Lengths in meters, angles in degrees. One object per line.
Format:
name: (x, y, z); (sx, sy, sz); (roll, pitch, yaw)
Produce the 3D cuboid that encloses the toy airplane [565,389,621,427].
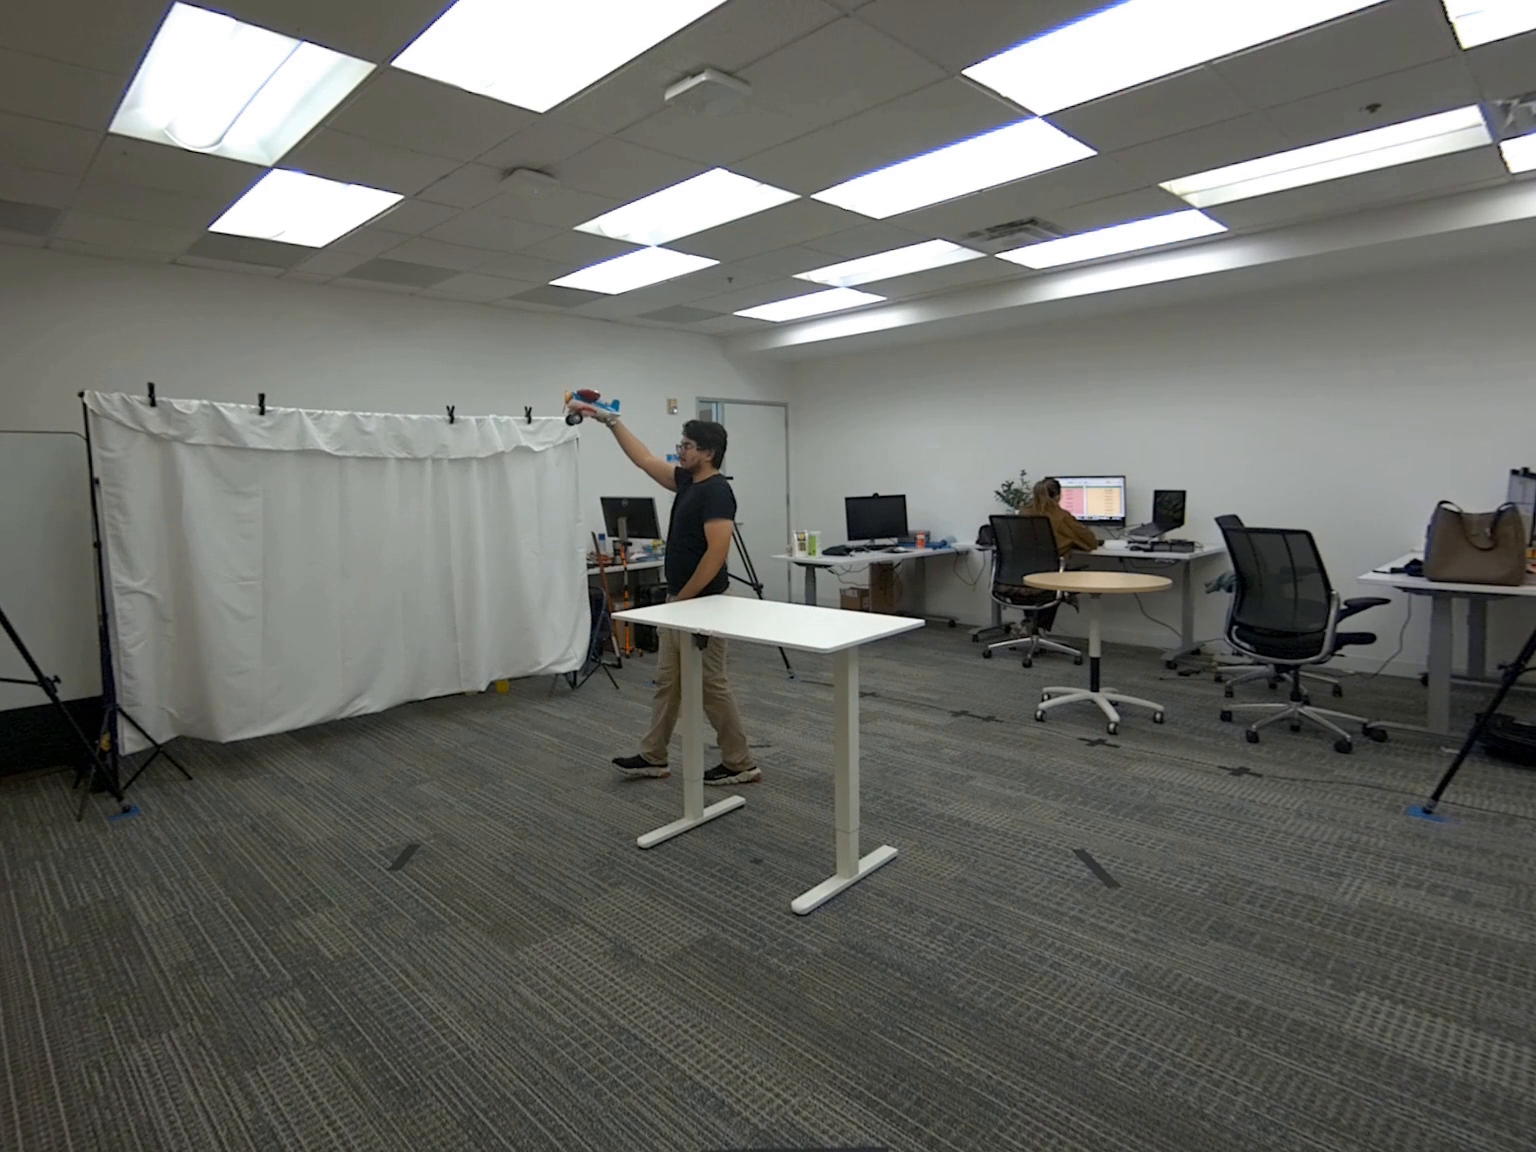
toy airplane: (-0.815, -0.765, 3.913); (0.258, 0.156, 0.252); (4, 5, 33)
